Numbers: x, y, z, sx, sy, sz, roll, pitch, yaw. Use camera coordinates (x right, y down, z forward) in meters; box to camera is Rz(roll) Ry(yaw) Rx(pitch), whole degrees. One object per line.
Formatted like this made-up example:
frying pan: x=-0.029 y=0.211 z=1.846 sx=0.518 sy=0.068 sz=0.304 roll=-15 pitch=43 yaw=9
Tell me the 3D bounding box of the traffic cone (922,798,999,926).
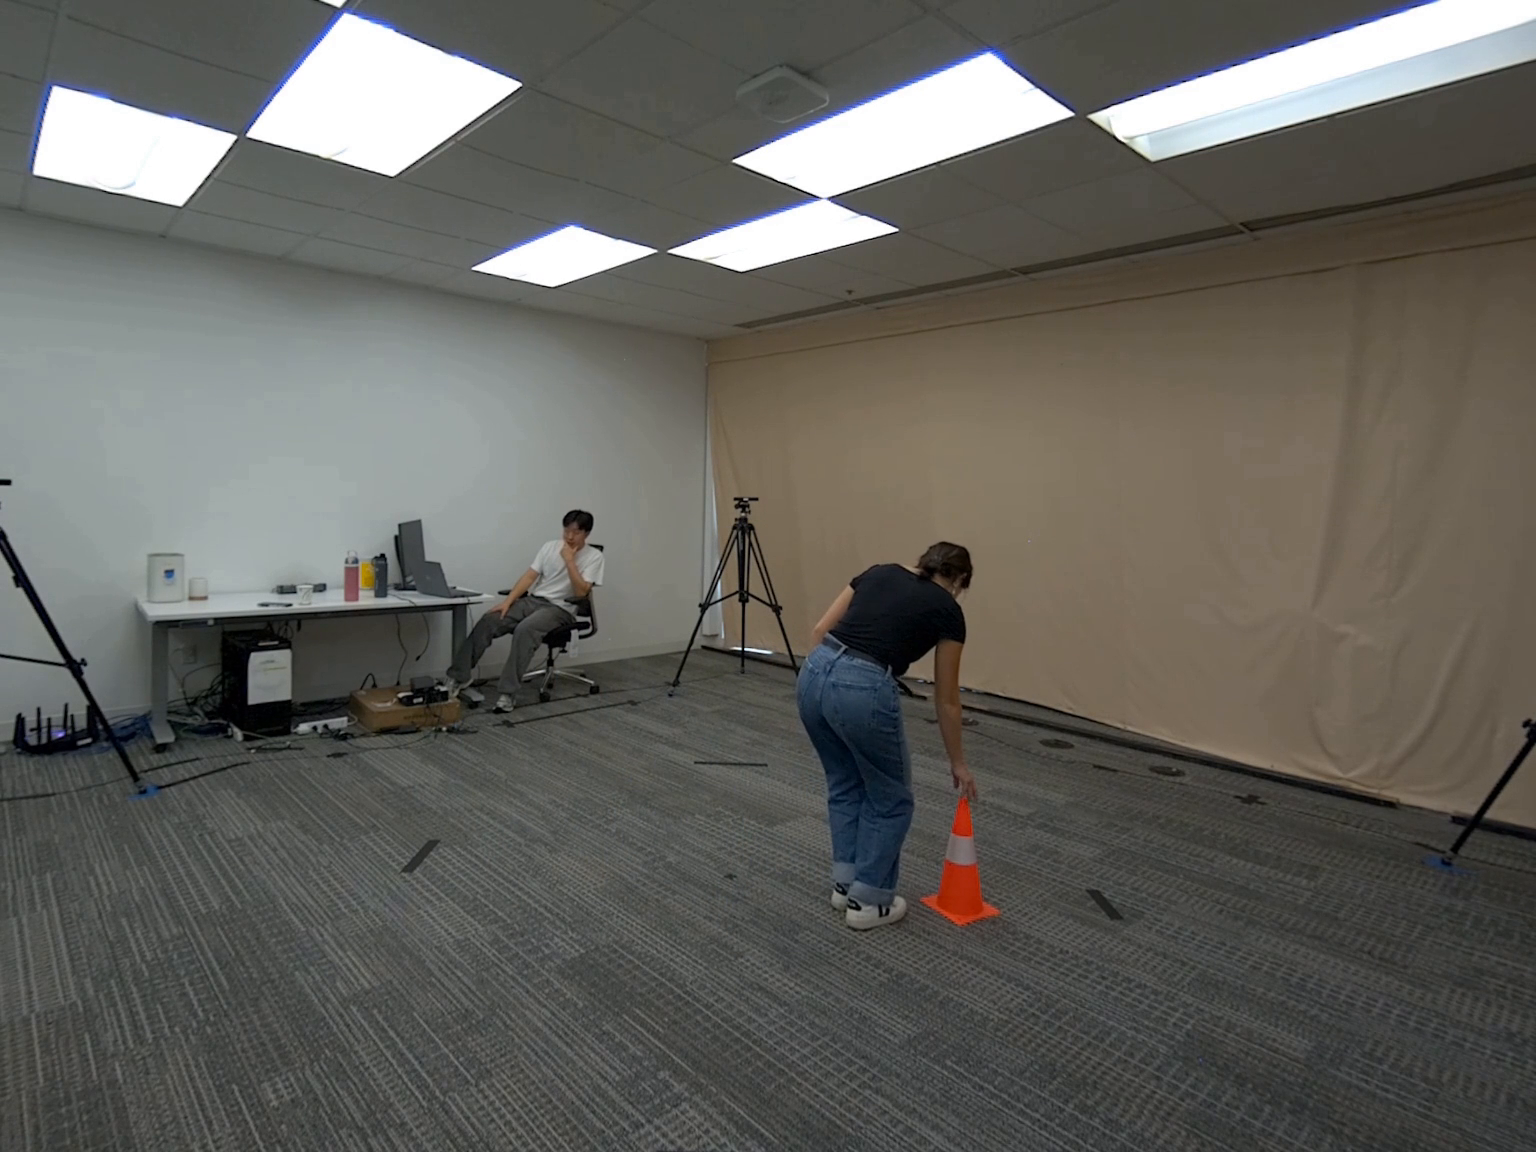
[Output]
traffic cone: x=0.661 y=0.961 z=2.900 sx=0.200 sy=0.382 sz=0.209 roll=0 pitch=5 yaw=-25
